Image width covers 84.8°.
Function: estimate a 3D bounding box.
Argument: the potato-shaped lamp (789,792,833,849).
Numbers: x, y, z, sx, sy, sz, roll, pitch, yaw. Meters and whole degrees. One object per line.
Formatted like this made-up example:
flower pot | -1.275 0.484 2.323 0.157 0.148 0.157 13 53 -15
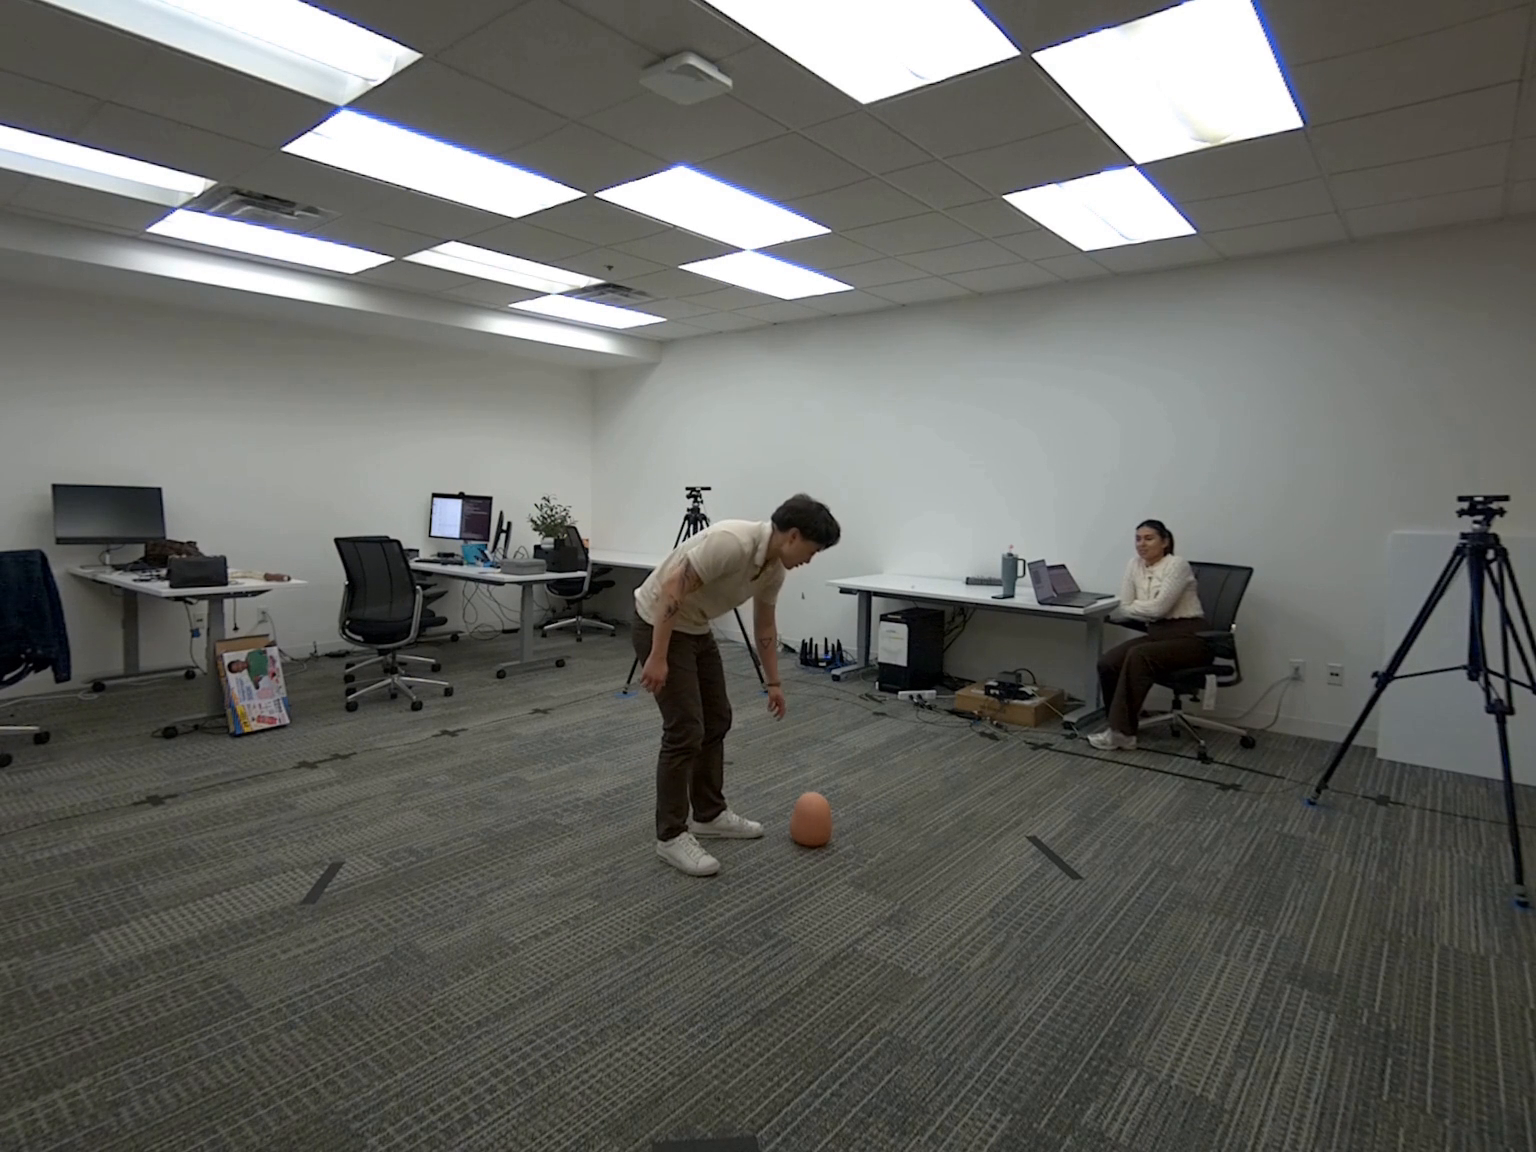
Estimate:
potato-shaped lamp | 0.160 0.943 3.357 0.164 0.197 0.173 3 4 -7
